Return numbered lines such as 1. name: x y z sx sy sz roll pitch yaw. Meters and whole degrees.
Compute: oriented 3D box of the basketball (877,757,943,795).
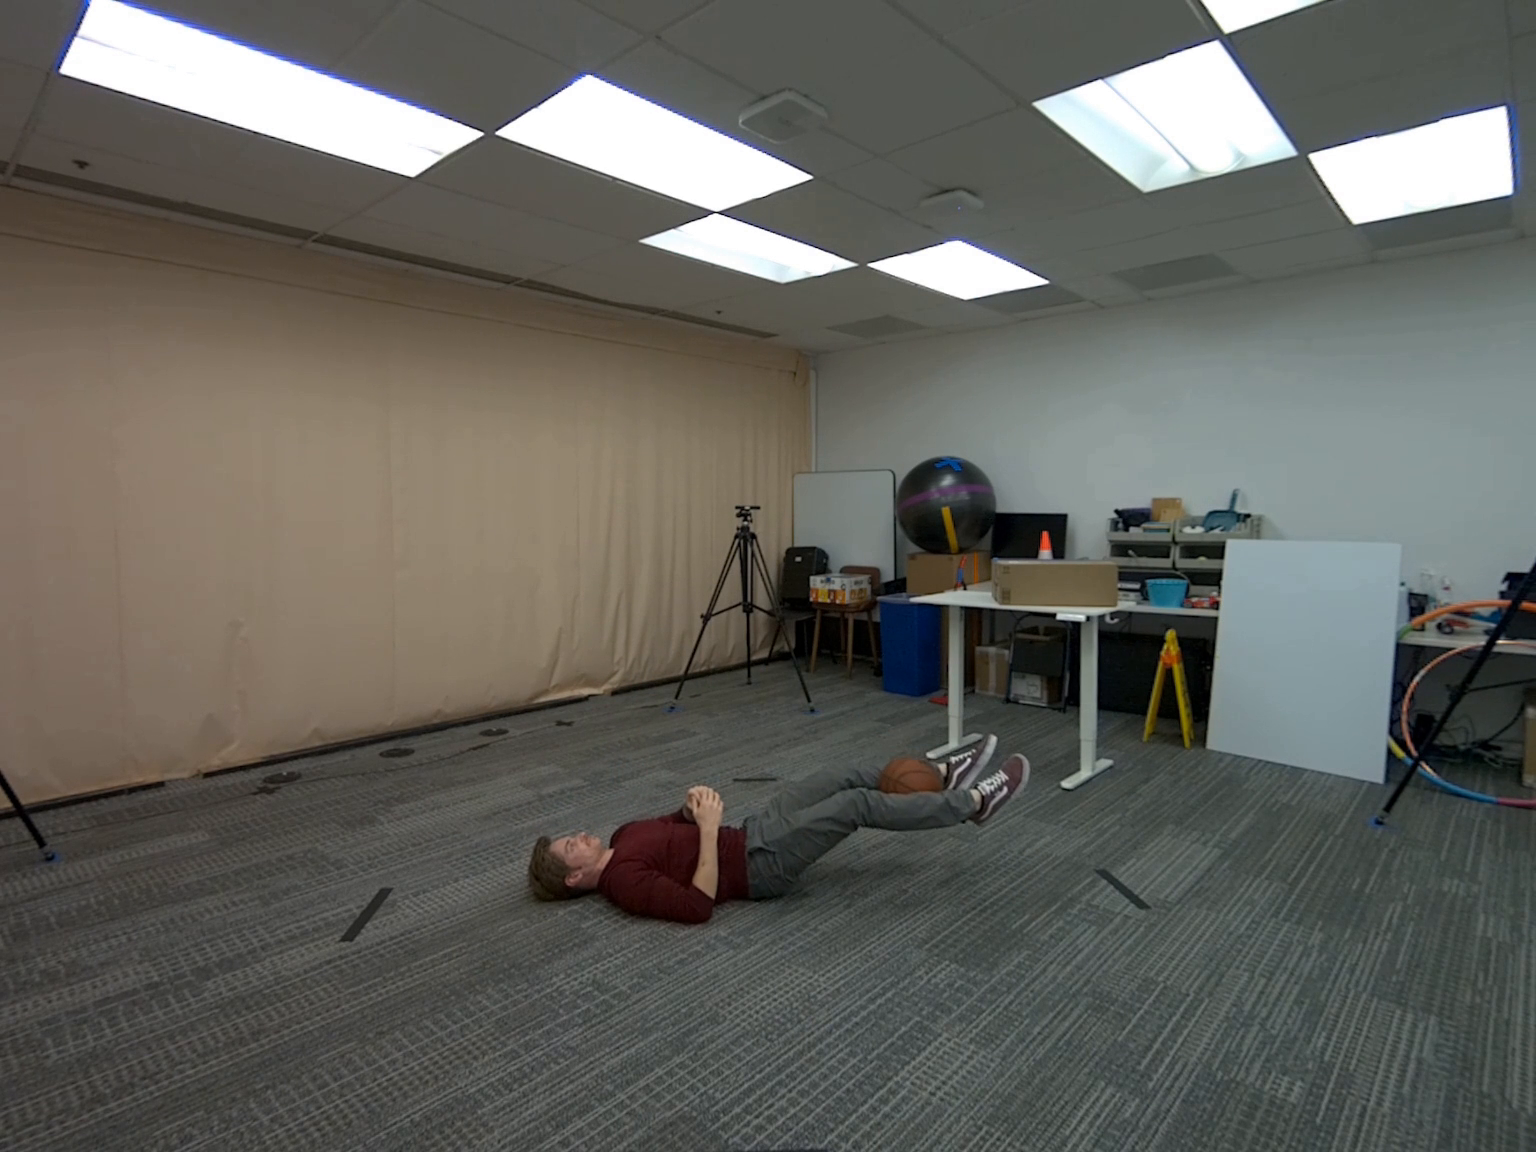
1. basketball: 0.523 0.786 3.111 0.236 0.235 0.237 0 4 -2
